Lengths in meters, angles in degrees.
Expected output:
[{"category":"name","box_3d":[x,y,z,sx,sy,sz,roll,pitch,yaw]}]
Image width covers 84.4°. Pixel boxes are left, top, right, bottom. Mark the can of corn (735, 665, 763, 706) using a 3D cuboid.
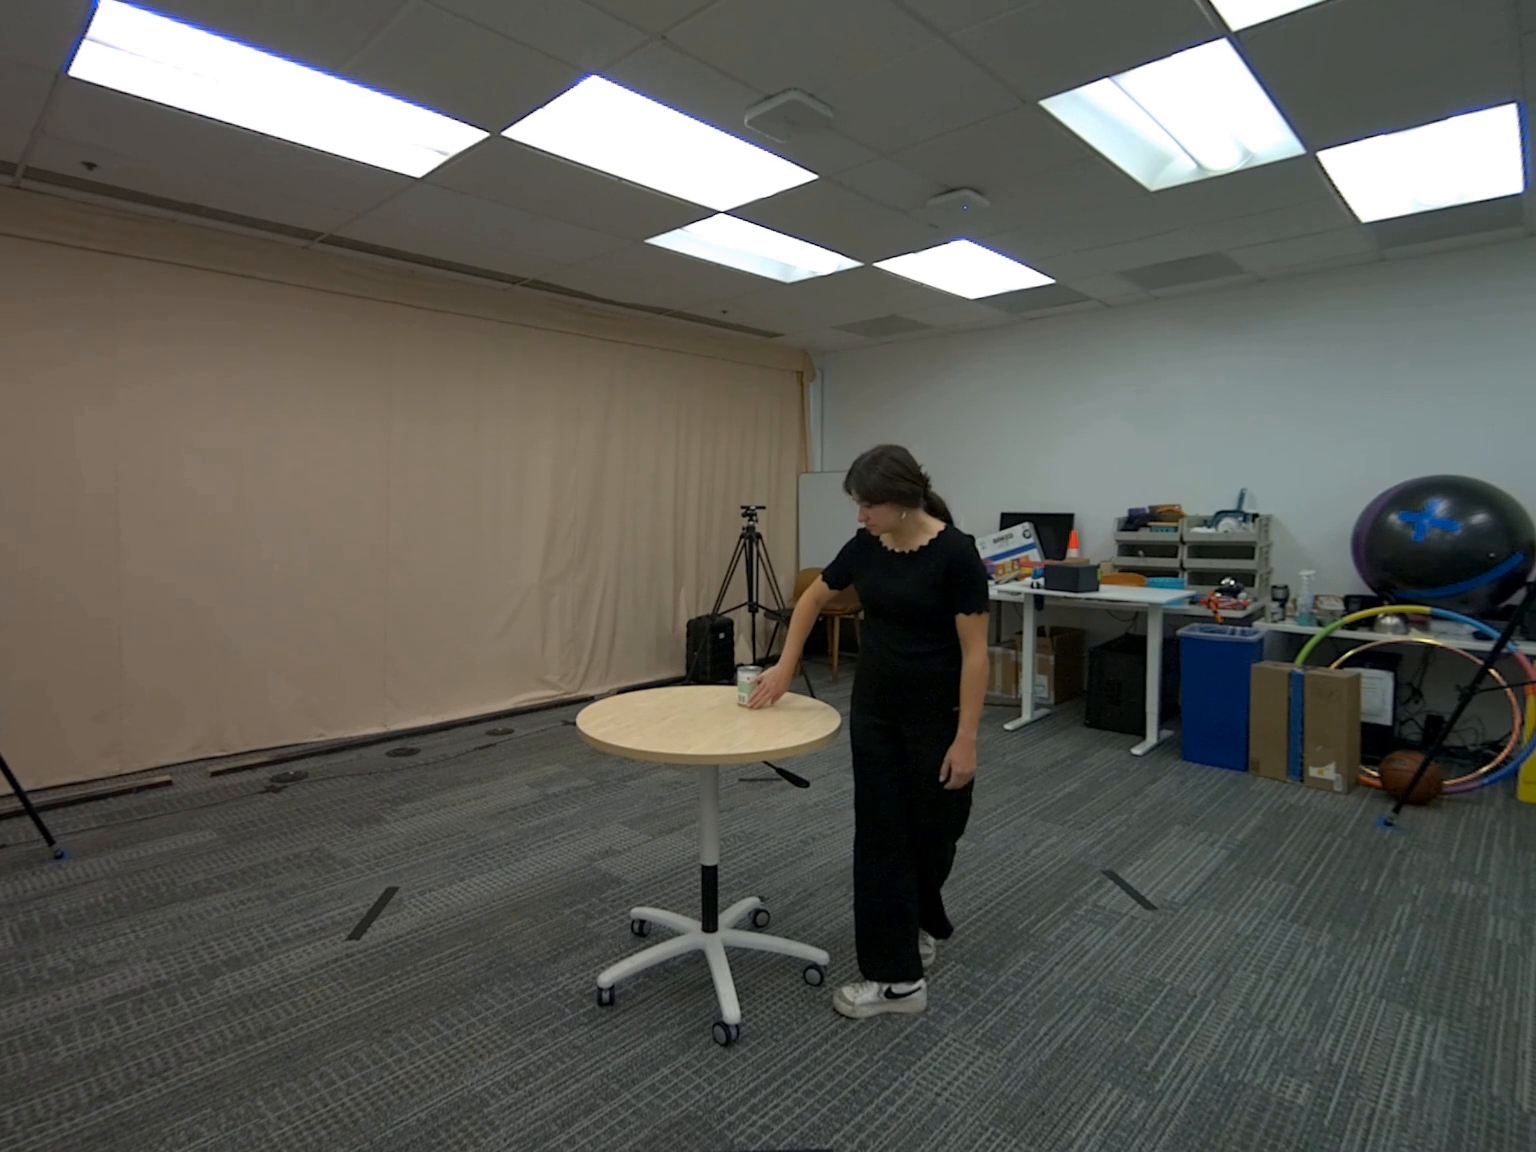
[{"category":"can of corn","box_3d":[-0.048,0.340,2.576,0.074,0.111,0.074,3,4,-2]}]
